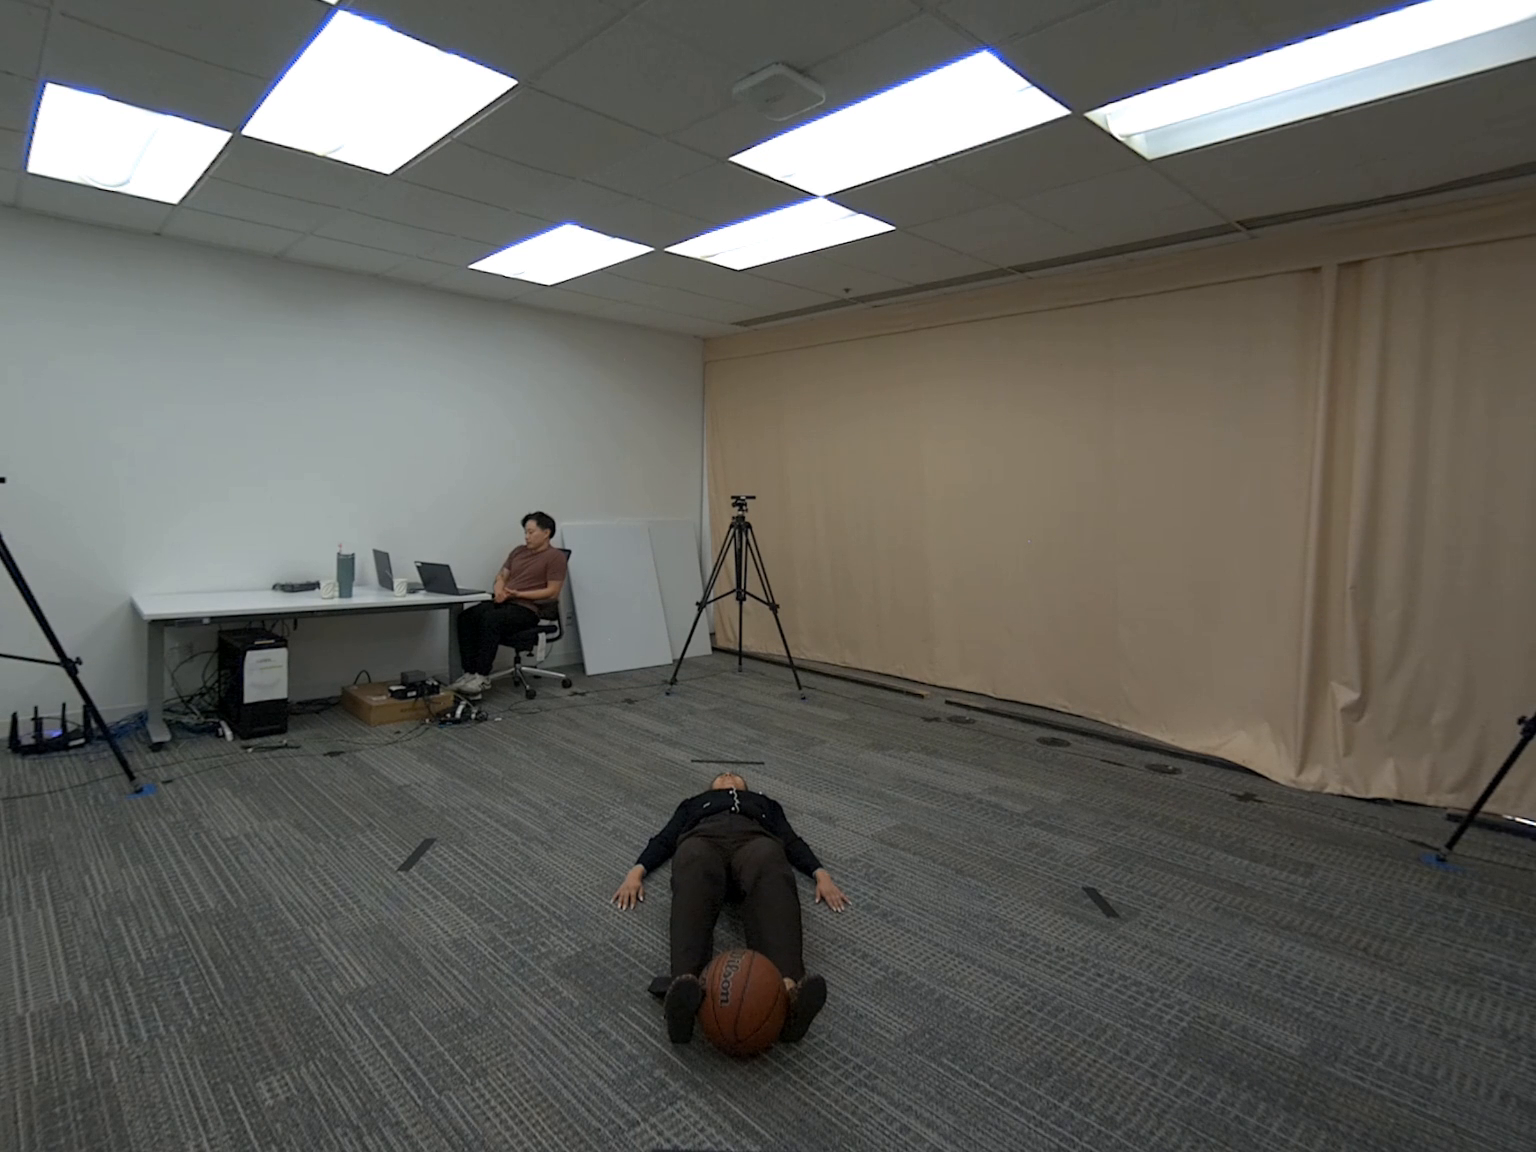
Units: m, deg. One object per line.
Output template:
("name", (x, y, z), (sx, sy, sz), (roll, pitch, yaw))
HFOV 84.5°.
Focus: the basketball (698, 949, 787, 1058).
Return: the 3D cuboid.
("basketball", (-0.072, 1.078, 2.121), (0.235, 0.235, 0.237), (4, 5, -2))
